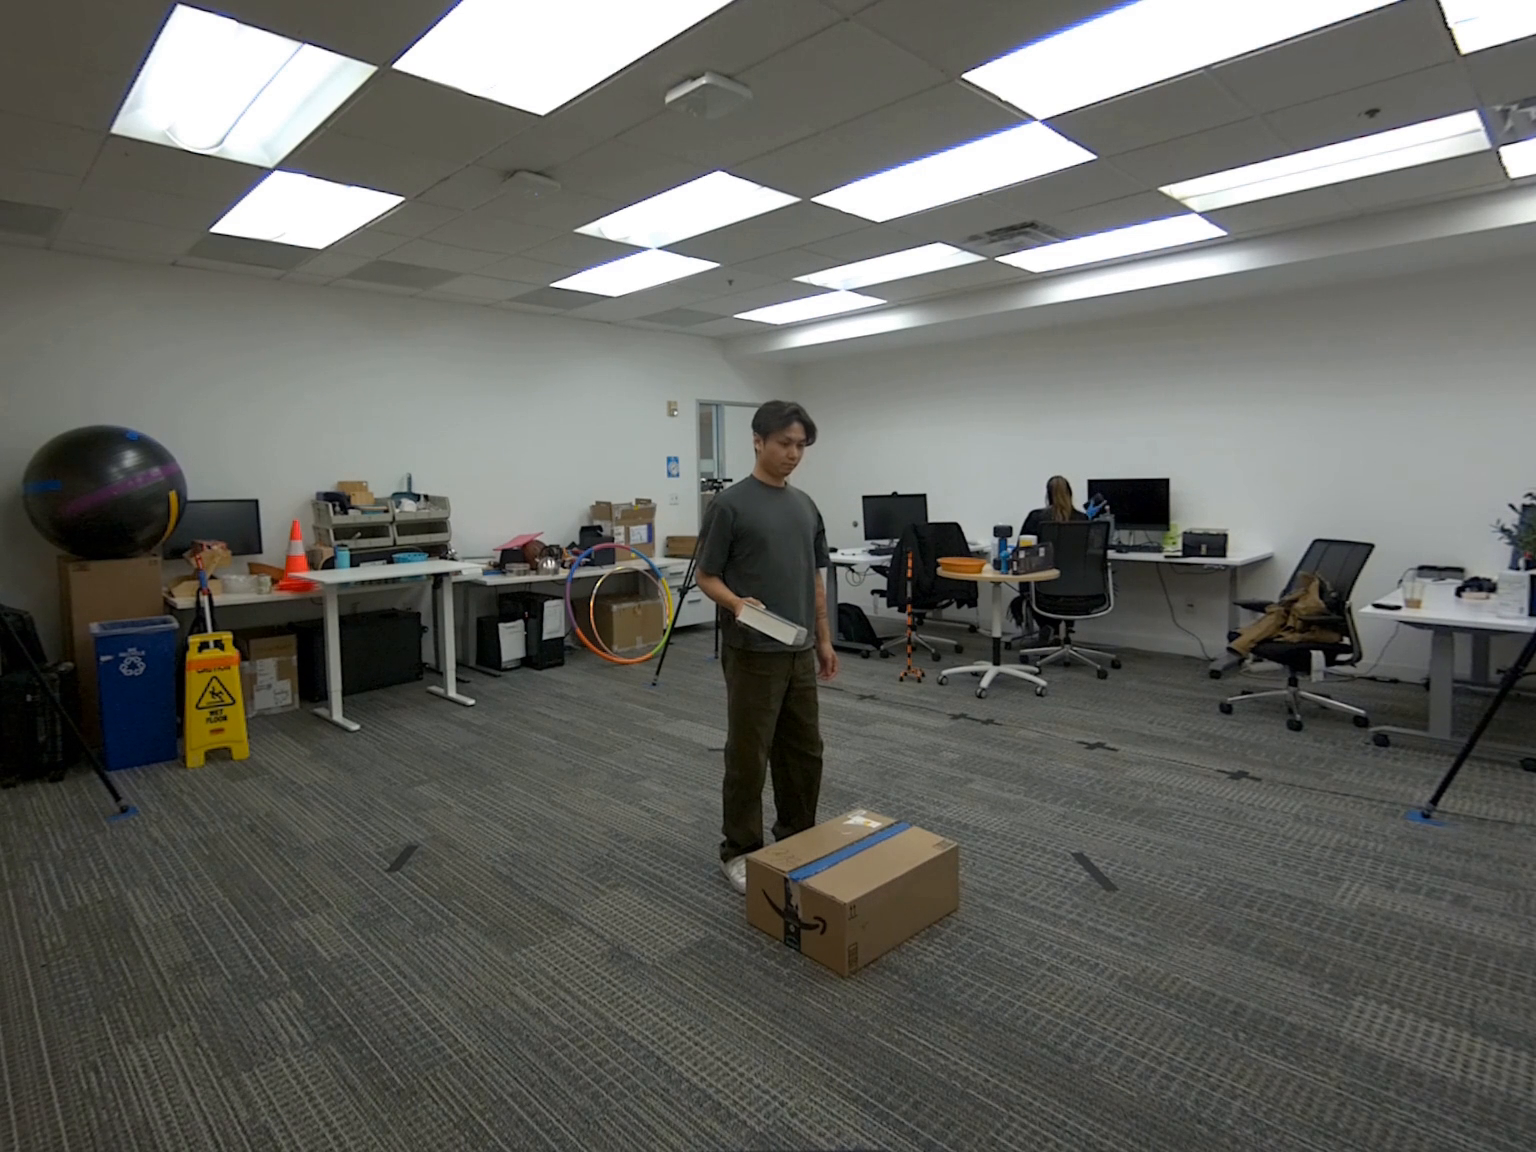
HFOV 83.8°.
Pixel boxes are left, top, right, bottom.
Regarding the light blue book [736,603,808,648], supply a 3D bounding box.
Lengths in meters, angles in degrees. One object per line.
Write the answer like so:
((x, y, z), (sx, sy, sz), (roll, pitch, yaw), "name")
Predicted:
((0.023, 0.158, 2.672), (0.194, 0.059, 0.257), (27, 0, 11), "light blue book")
